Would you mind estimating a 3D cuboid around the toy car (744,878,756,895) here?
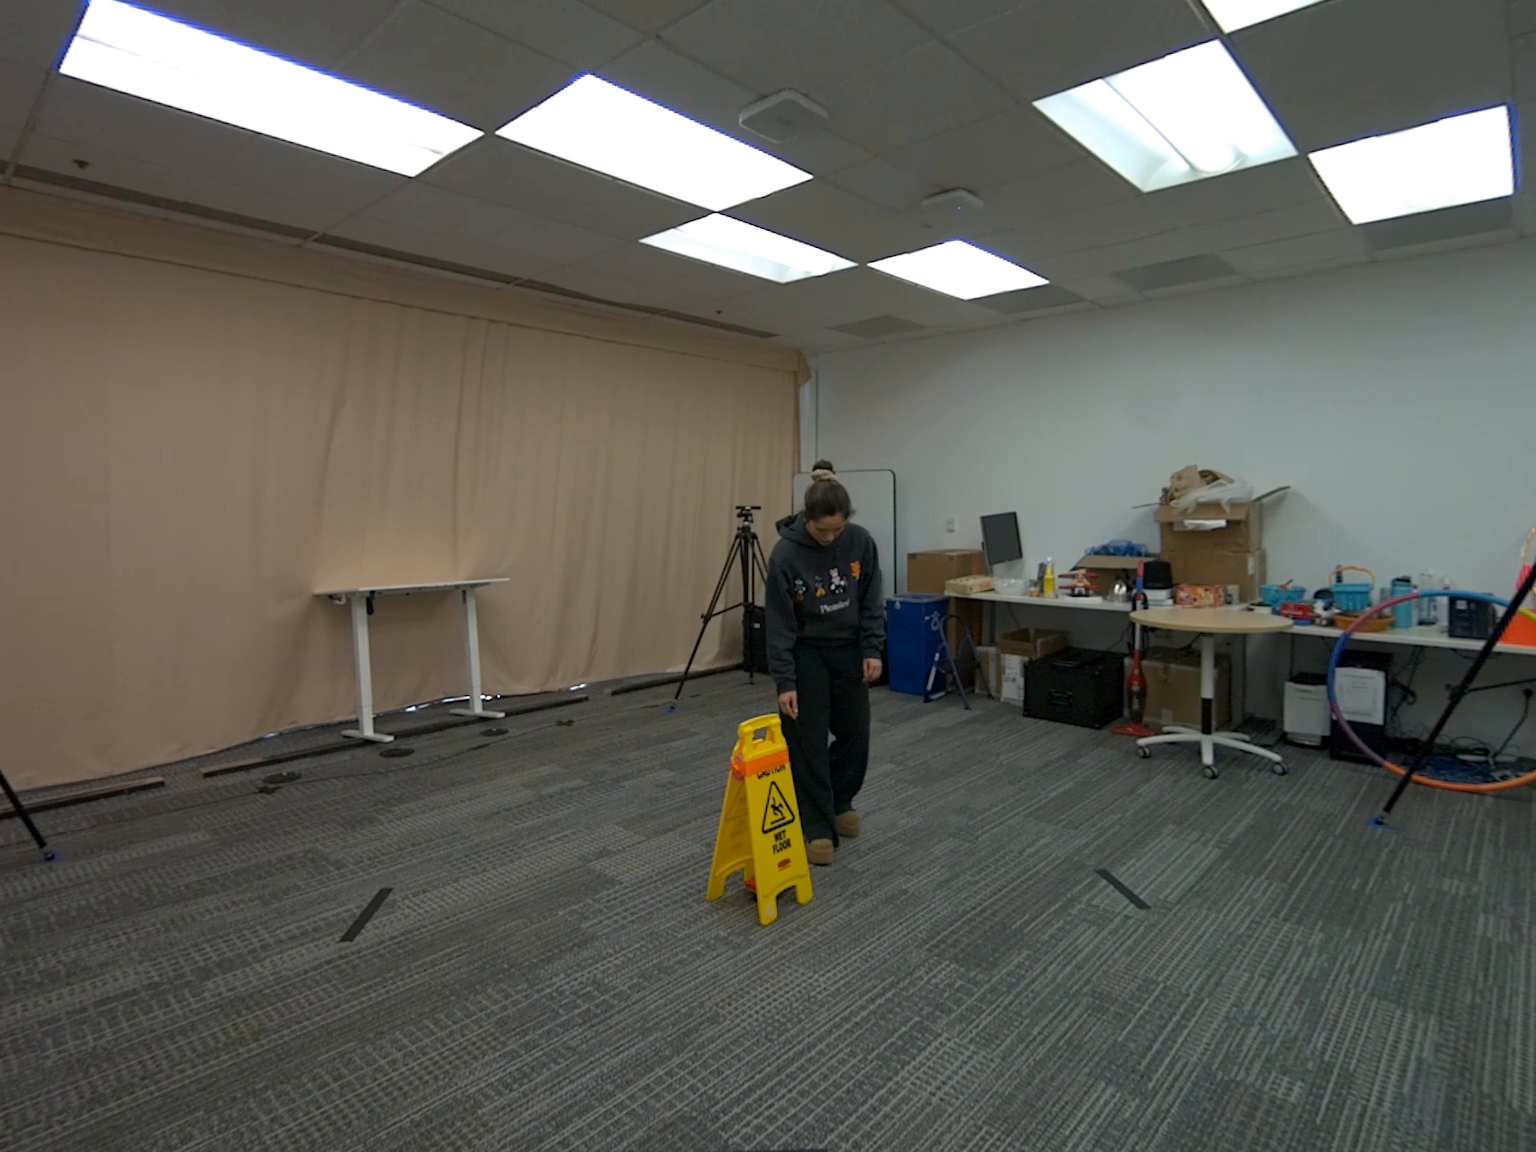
[{"bbox_3d":[0.059,1.105,3.045,0.135,0.083,0.246,4,-3,44],"label":"toy car"}]
